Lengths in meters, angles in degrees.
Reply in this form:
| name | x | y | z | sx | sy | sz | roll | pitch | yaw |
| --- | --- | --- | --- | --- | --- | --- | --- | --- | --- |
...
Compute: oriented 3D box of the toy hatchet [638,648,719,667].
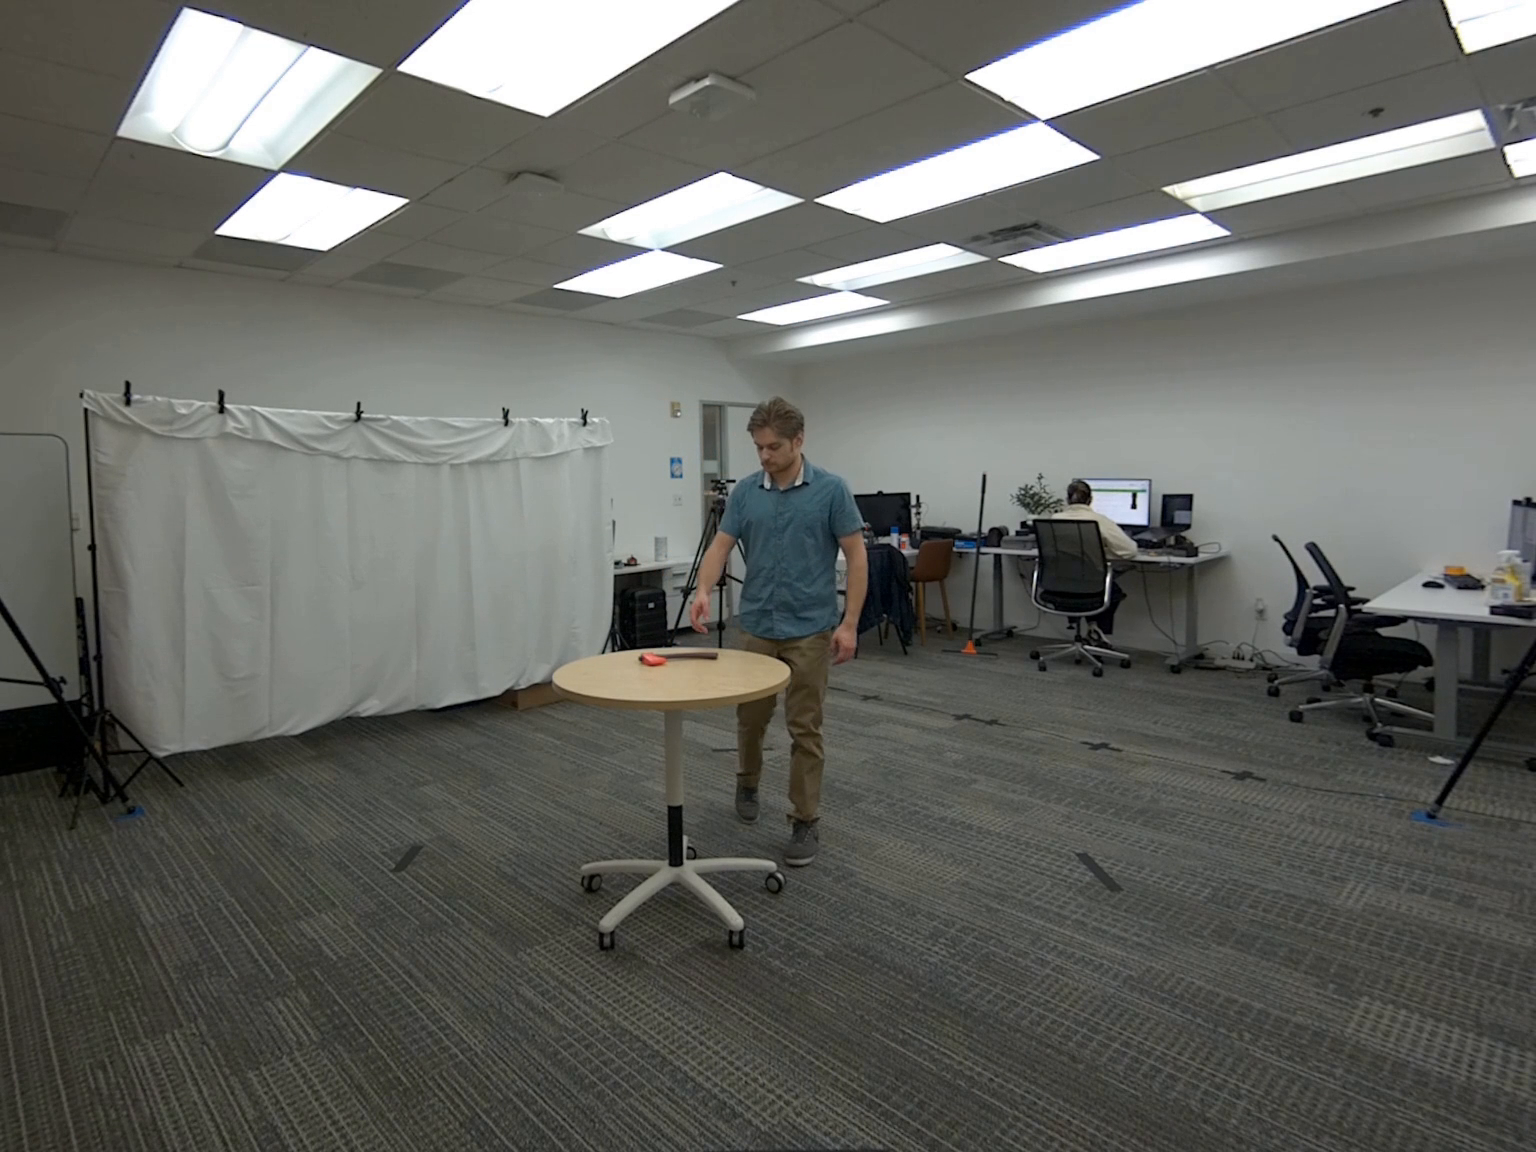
| name | x | y | z | sx | sy | sz | roll | pitch | yaw |
| --- | --- | --- | --- | --- | --- | --- | --- | --- | --- |
| toy hatchet | -0.300 | 0.280 | 2.893 | 0.270 | 0.029 | 0.131 | 0 | 6 | -1 |
